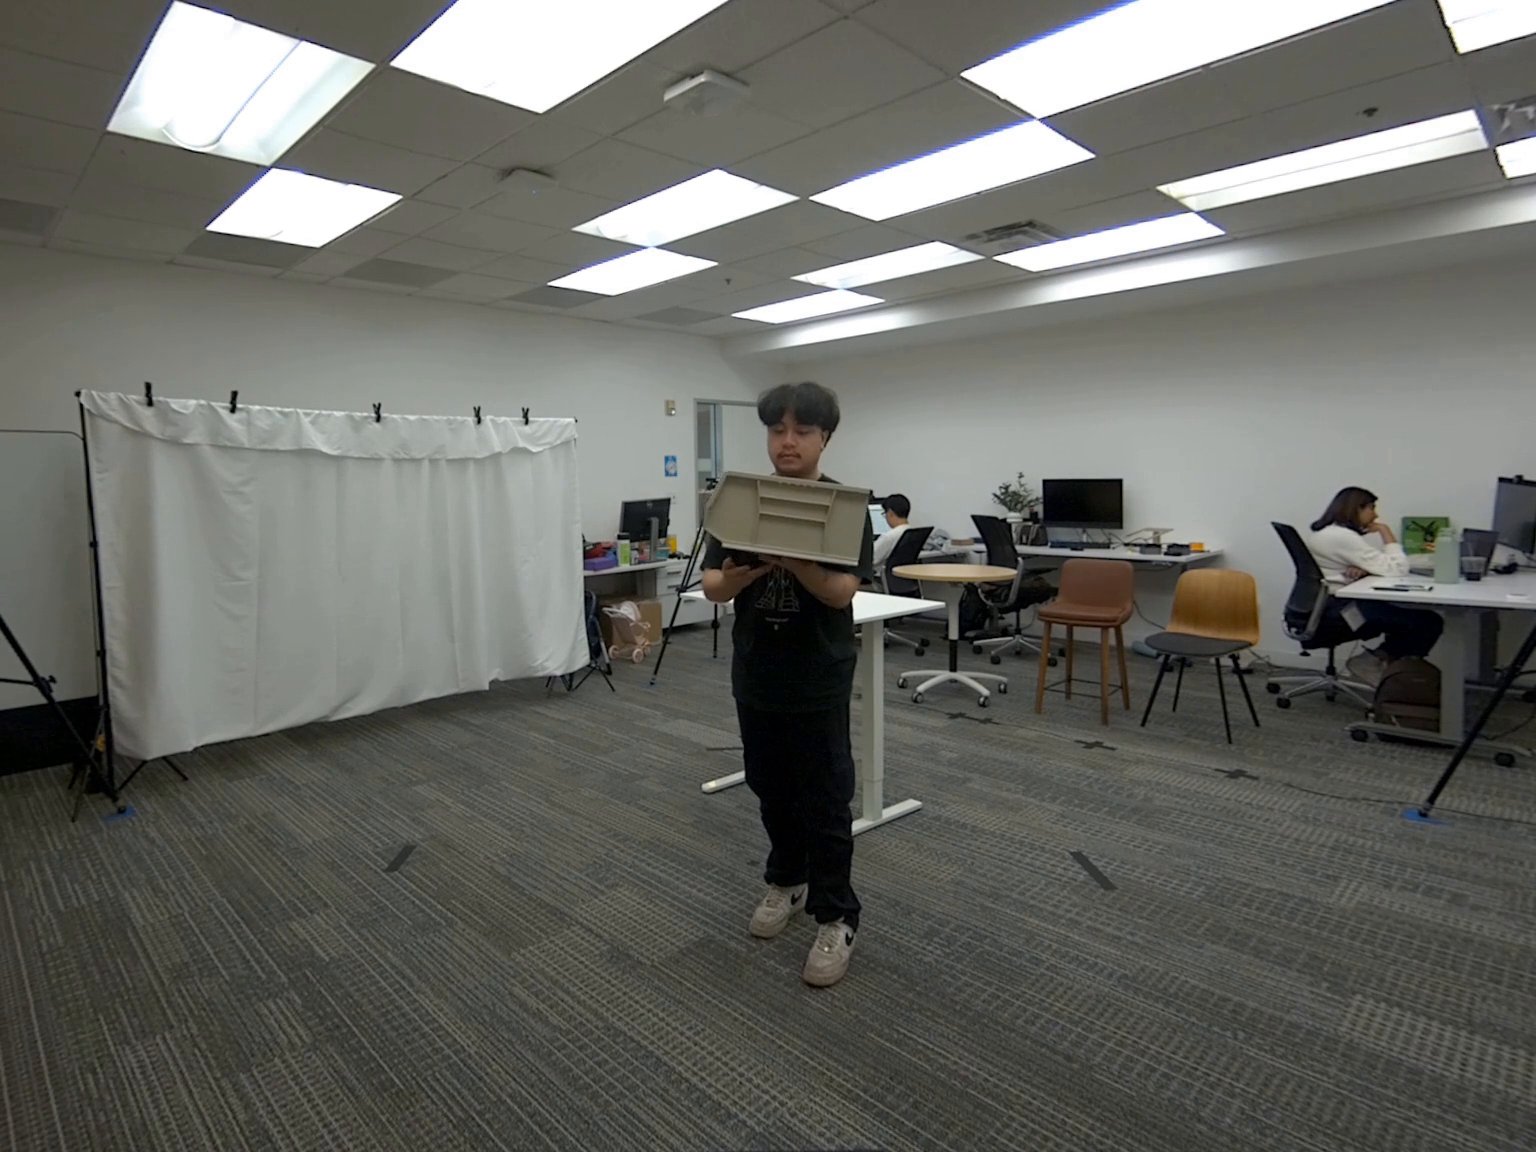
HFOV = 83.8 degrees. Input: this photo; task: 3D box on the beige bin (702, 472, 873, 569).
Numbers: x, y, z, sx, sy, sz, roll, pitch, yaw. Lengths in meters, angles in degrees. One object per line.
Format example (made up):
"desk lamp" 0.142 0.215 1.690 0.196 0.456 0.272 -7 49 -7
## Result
"beige bin" 0.052 -0.133 2.161 0.379 0.189 0.420 9 1 4
